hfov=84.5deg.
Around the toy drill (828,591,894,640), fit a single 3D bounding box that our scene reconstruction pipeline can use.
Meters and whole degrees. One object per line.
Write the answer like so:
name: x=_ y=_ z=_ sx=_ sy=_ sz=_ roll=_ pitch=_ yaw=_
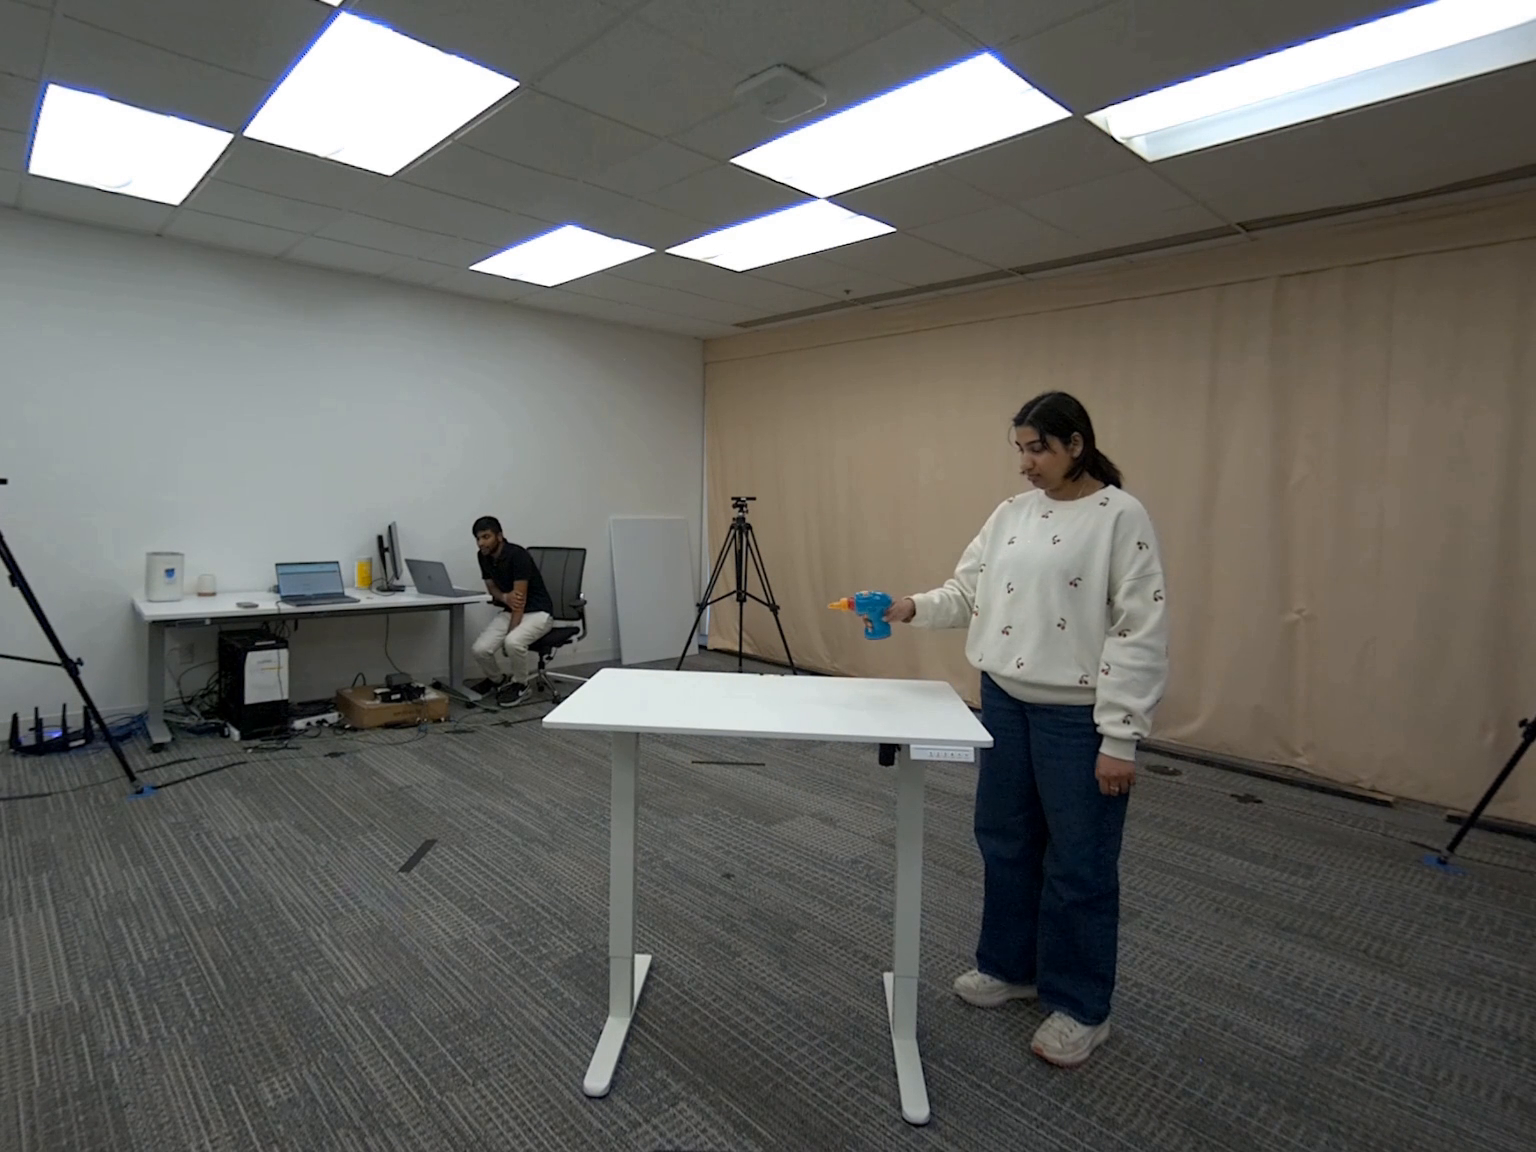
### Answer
toy drill: x=0.239 y=0.105 z=2.255 sx=0.169 sy=0.143 sz=0.062 roll=-10 pitch=22 yaw=-3
